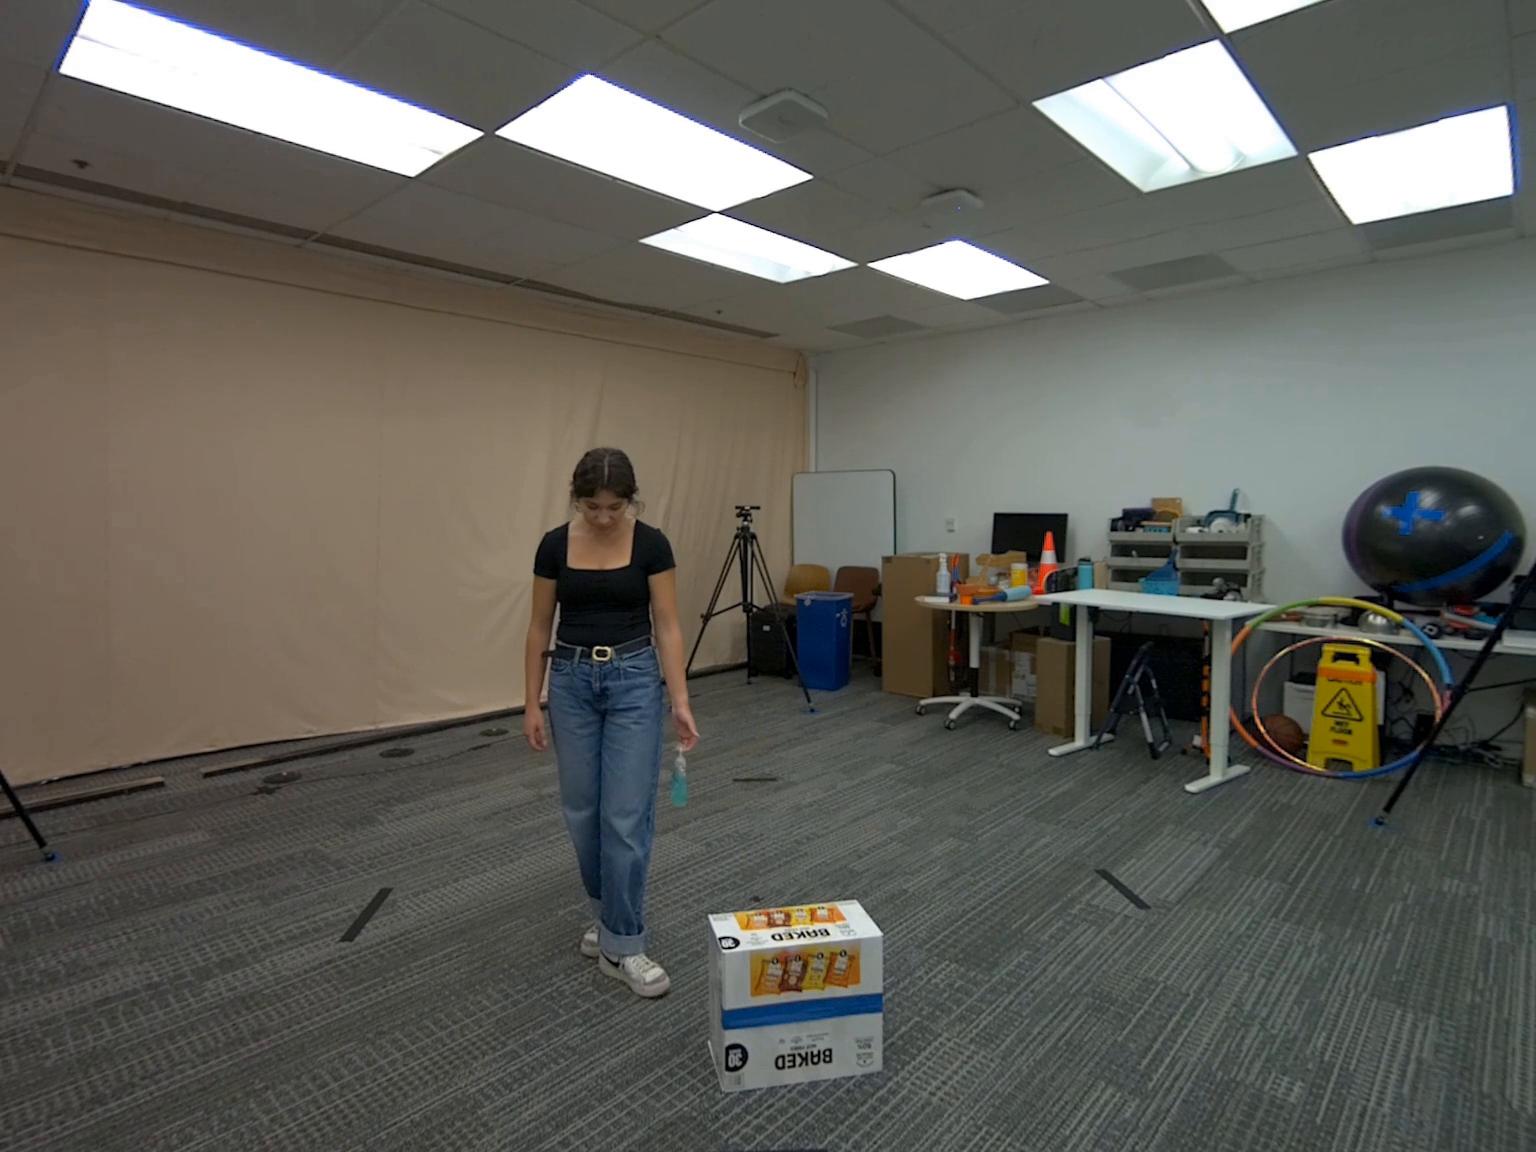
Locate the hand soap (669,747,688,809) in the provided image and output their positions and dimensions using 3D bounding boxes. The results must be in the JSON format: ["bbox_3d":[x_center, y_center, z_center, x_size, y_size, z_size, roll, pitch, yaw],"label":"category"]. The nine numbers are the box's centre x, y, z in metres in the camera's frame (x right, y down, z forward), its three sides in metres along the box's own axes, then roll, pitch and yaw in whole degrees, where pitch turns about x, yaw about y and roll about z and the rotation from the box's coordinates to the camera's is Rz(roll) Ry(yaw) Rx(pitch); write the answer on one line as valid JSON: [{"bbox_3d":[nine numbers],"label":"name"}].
[{"bbox_3d":[-0.238,0.562,2.395,0.043,0.167,0.086,1,9,-17],"label":"hand soap"}]
